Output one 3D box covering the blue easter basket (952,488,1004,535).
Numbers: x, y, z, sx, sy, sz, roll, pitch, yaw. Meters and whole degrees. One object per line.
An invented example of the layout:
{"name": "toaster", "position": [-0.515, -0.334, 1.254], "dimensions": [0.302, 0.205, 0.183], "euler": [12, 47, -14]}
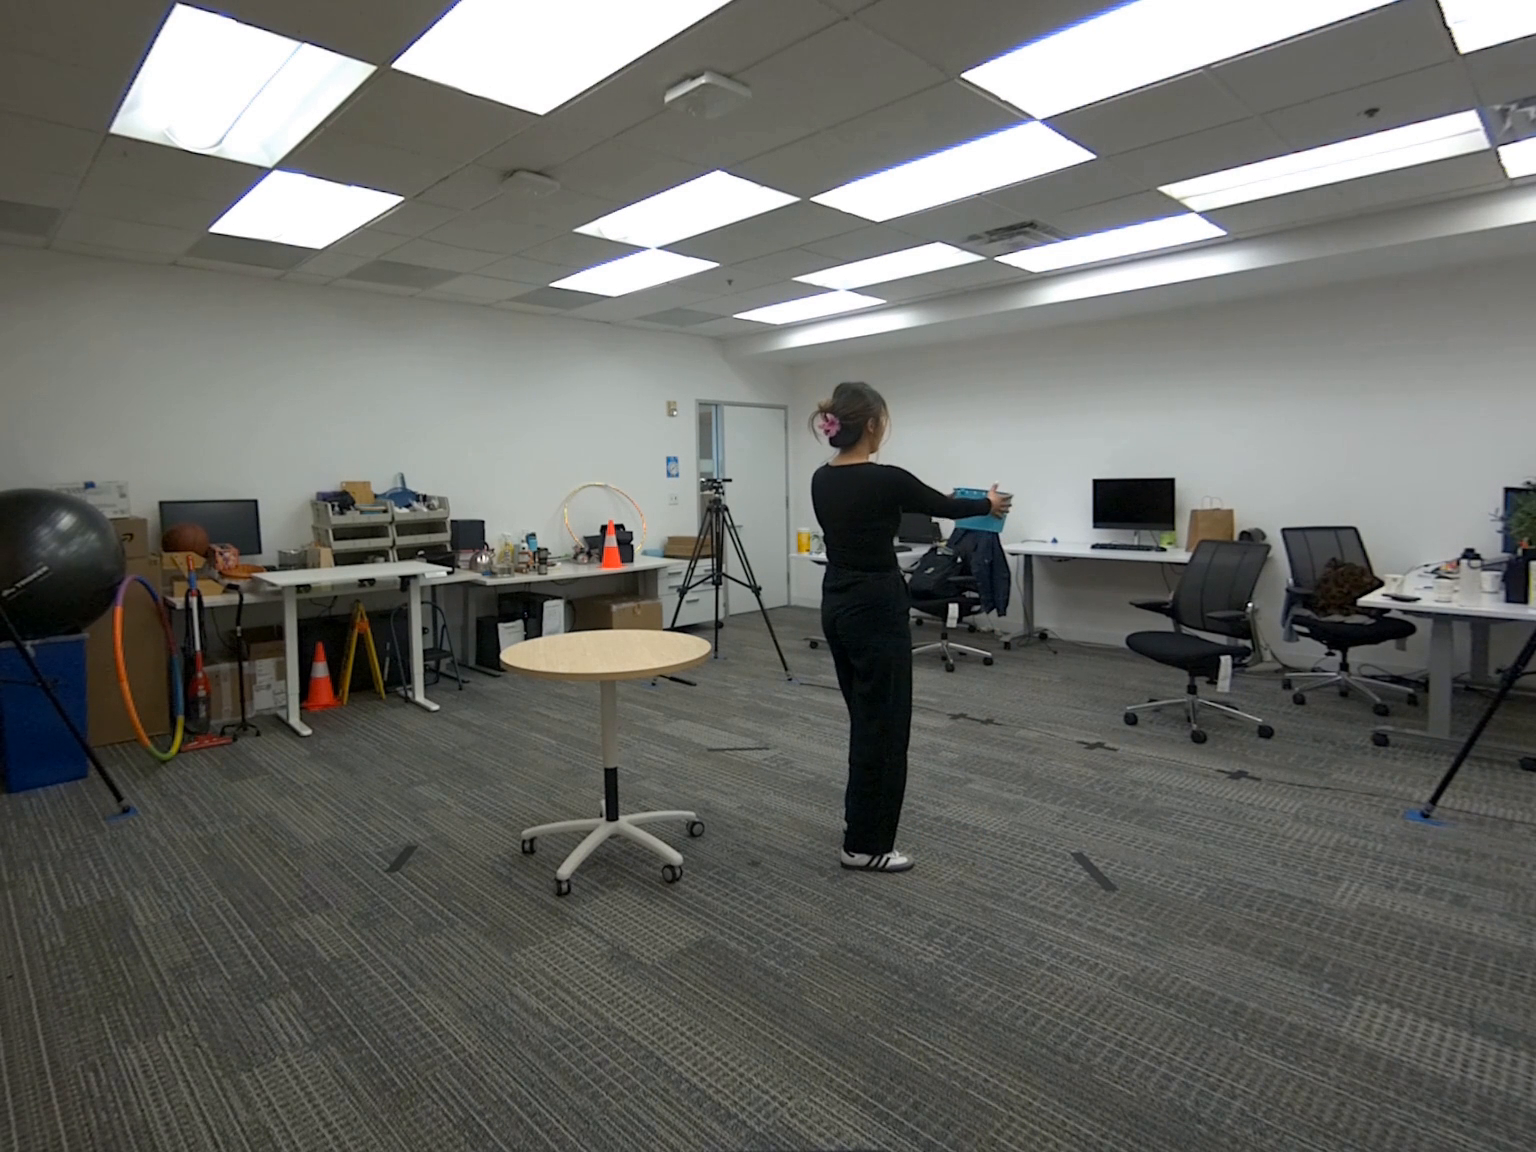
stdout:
{"name": "blue easter basket", "position": [0.842, -0.255, 3.364], "dimensions": [0.243, 0.155, 0.244], "euler": [5, 4, -2]}
